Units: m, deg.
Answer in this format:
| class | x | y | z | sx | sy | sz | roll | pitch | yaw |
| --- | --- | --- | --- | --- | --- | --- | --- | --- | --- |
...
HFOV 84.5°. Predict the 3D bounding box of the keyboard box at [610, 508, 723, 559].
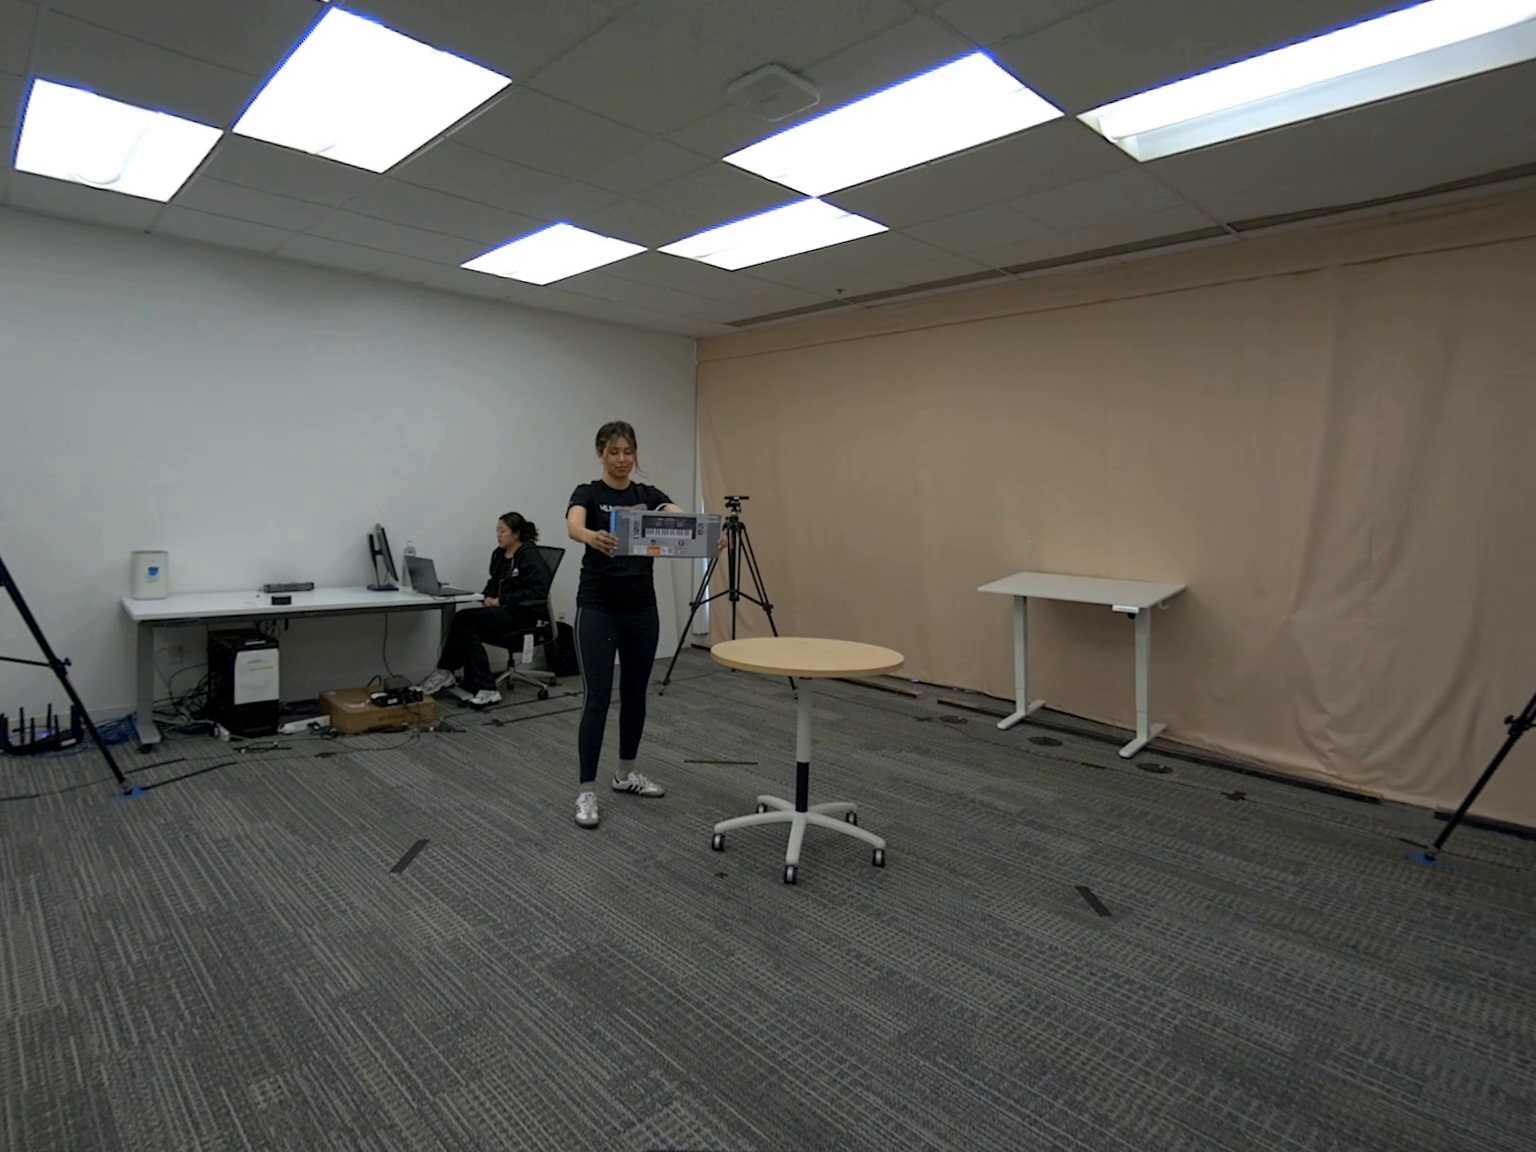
| class | x | y | z | sx | sy | sz | roll | pitch | yaw |
| --- | --- | --- | --- | --- | --- | --- | --- | --- | --- |
| keyboard box | -0.397 | -0.158 | 3.245 | 0.428 | 0.176 | 0.060 | 1 | 3 | -27 |
